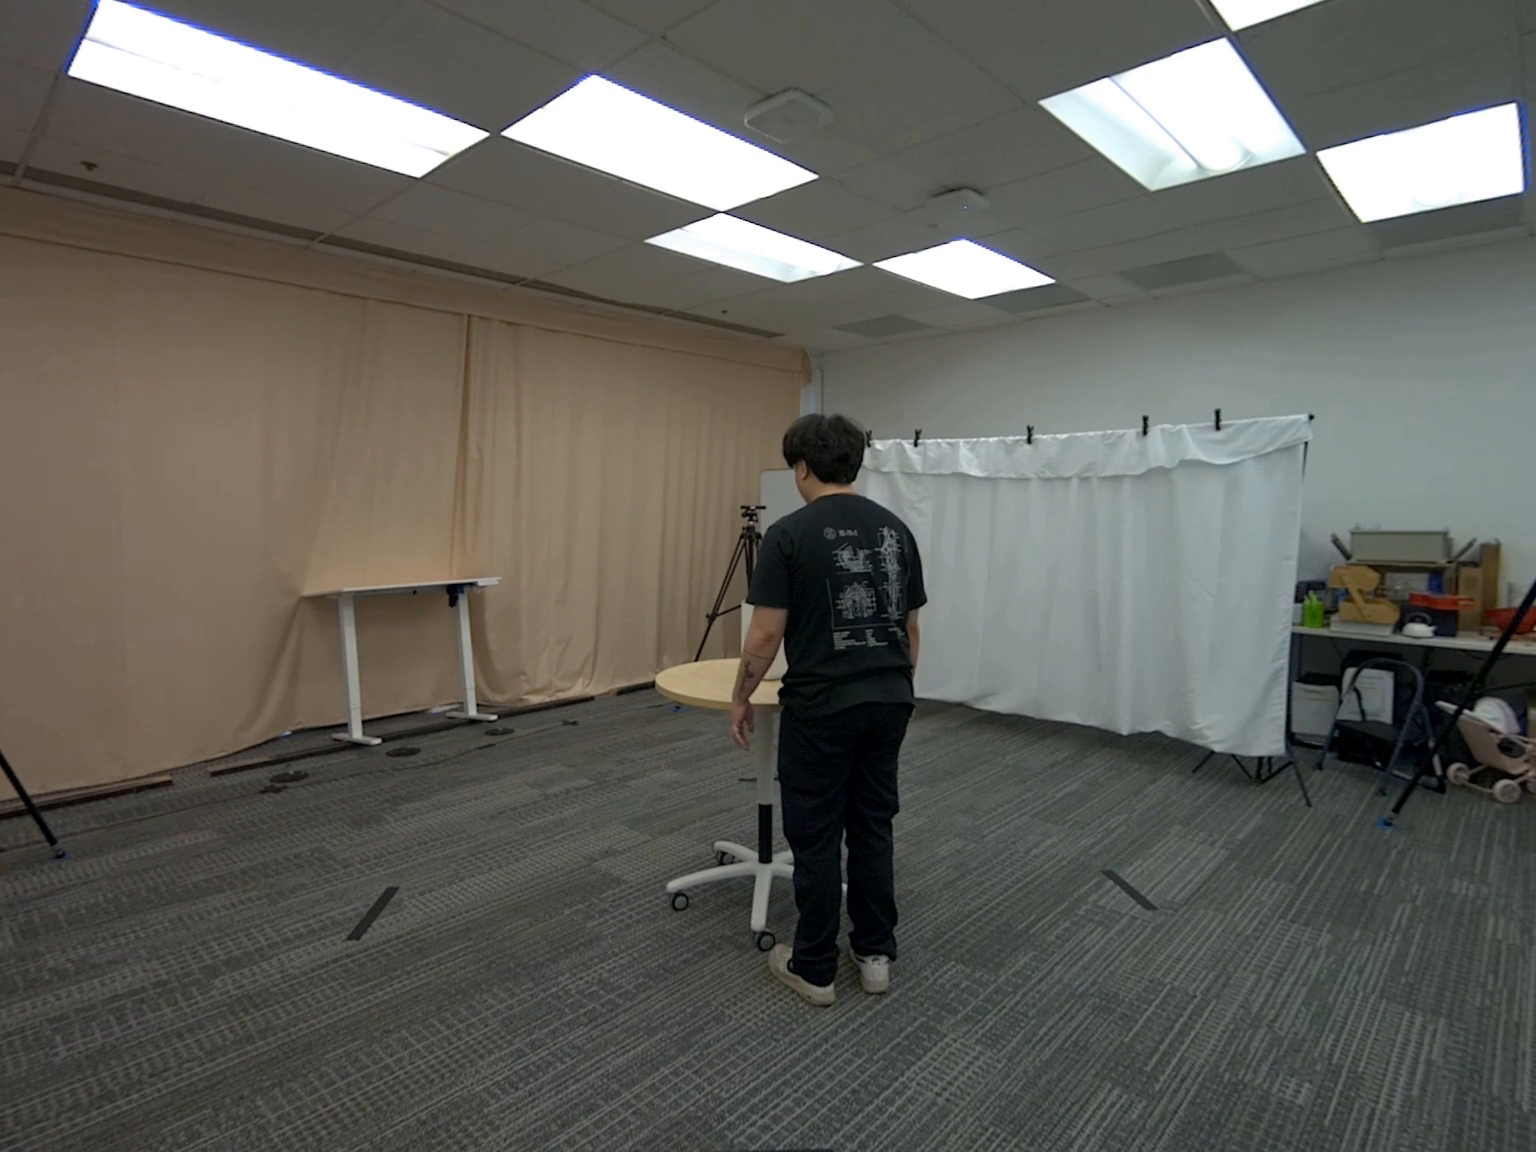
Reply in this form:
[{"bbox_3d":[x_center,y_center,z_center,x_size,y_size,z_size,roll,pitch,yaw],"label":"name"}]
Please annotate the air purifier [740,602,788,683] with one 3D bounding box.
[{"bbox_3d":[0.013,0.217,2.956,0.166,0.265,0.177,-2,4,-39],"label":"air purifier"}]
